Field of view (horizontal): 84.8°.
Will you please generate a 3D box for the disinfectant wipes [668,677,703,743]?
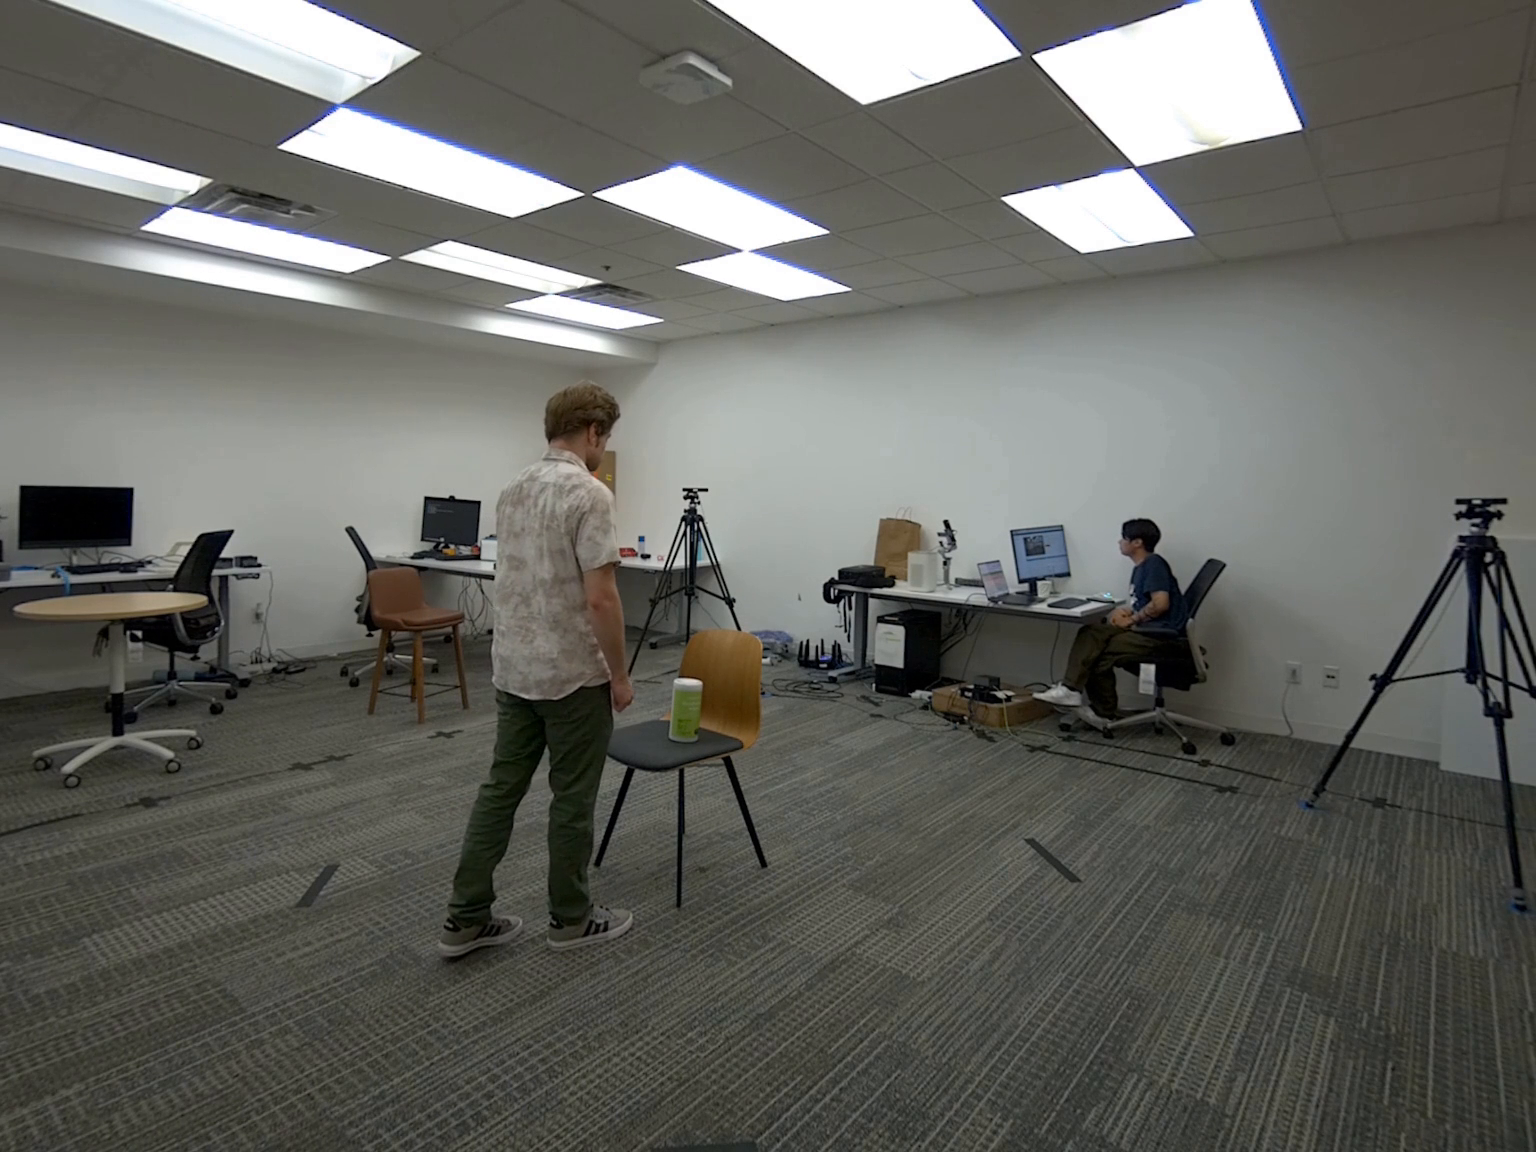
[{"bbox_3d":[-0.315,0.490,3.127,0.117,0.217,0.118,5,2,-2],"label":"disinfectant wipes"}]
